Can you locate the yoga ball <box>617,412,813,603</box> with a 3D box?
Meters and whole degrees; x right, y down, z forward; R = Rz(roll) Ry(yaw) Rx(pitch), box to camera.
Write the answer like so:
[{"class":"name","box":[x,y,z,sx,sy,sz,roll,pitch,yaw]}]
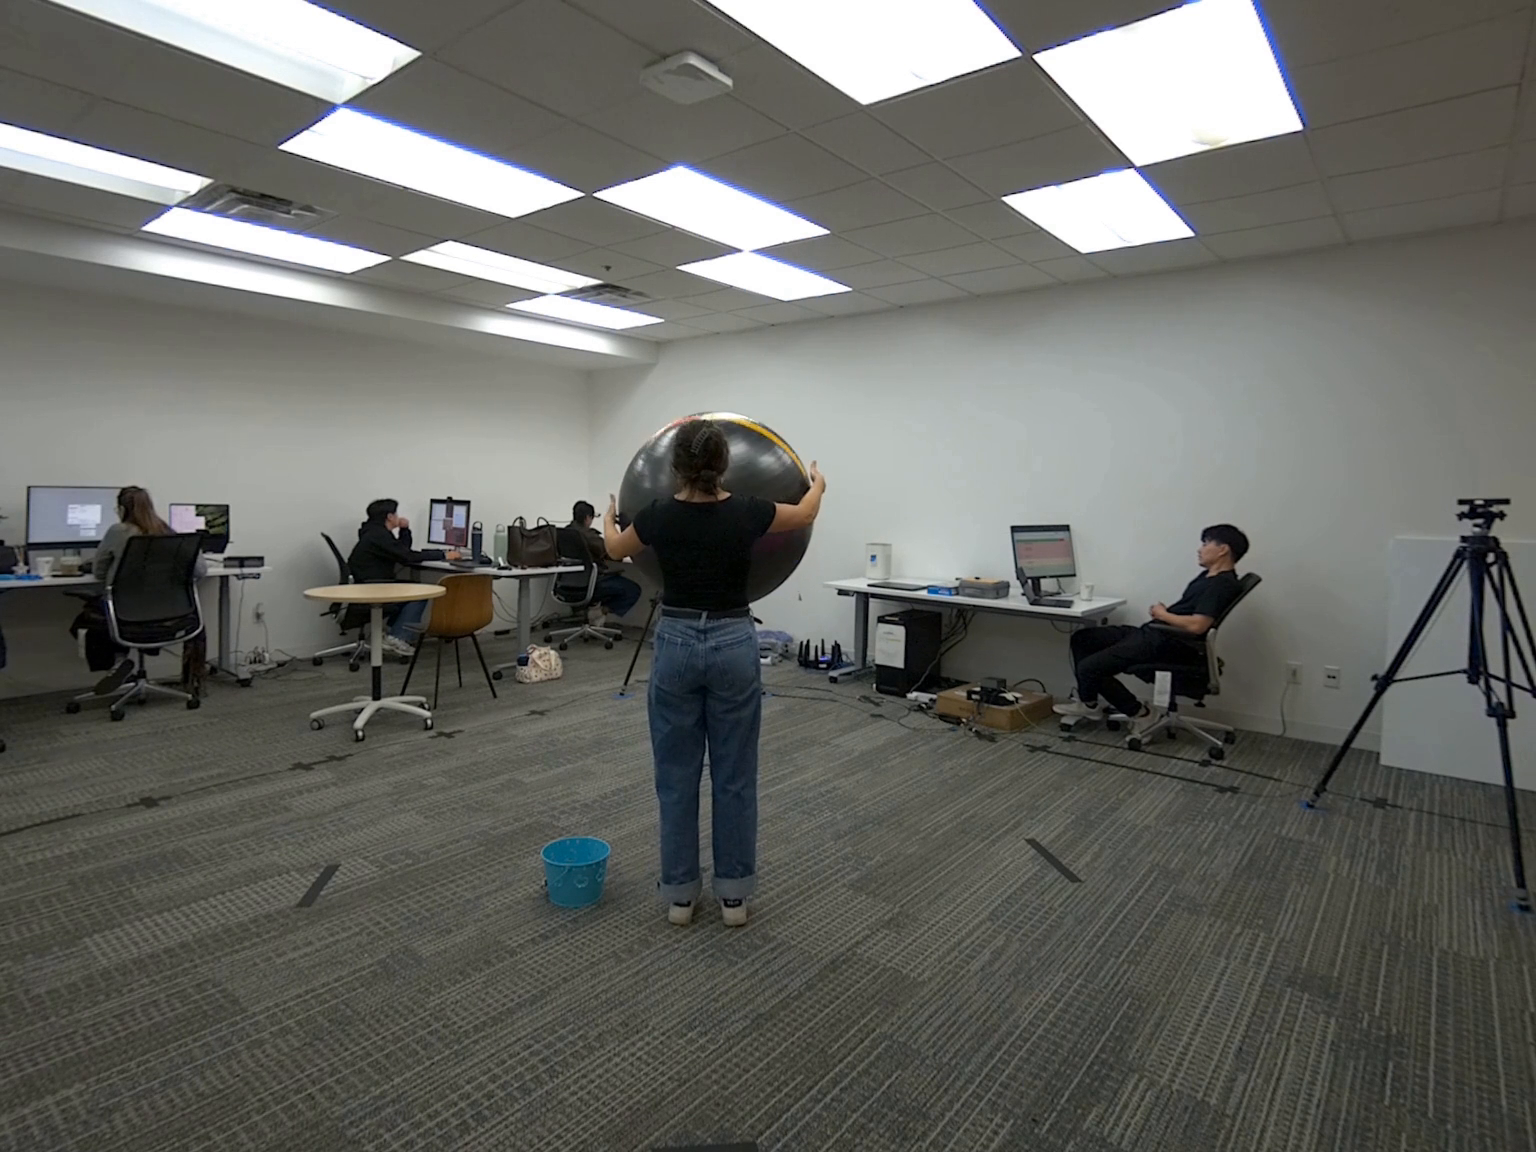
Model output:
[{"class":"yoga ball","box":[-0.207,-0.254,3.296,0.757,0.755,0.762,1,4,-2]}]
